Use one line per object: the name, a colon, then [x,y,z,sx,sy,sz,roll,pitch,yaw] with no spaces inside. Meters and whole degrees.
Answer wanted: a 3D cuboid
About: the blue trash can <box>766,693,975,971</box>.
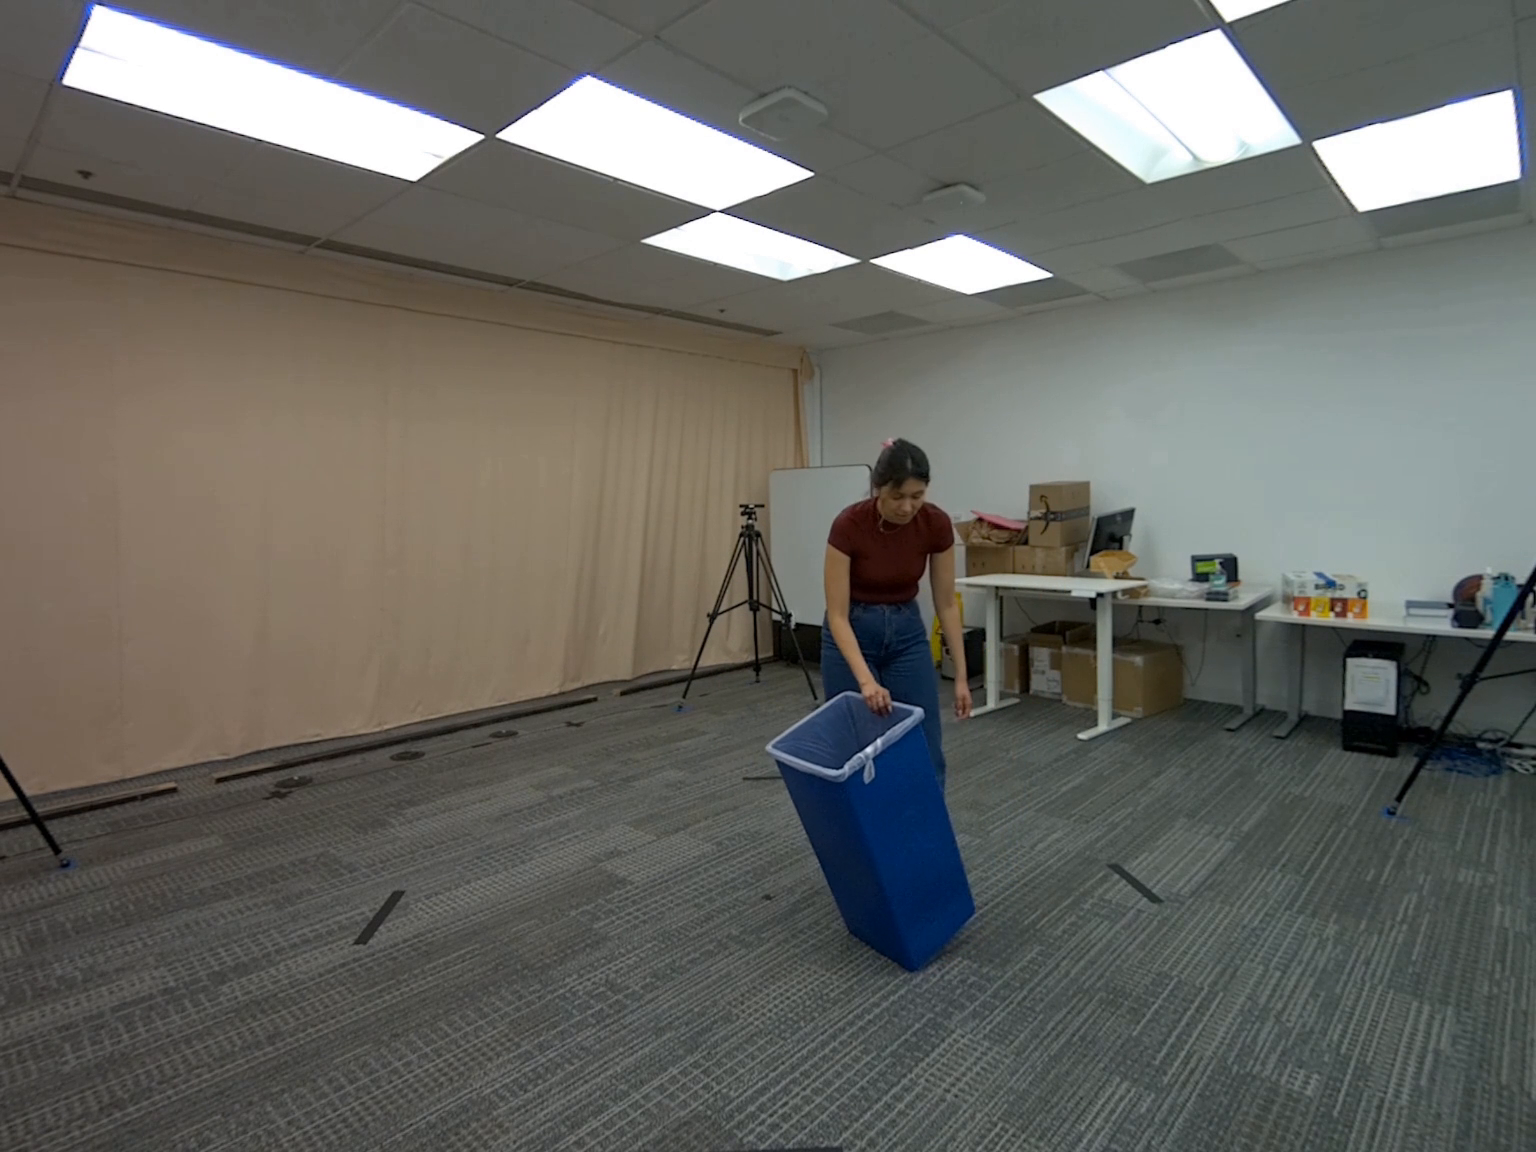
blue trash can: [0.334,0.781,2.599,0.371,0.704,0.385,-28,16,-31]
